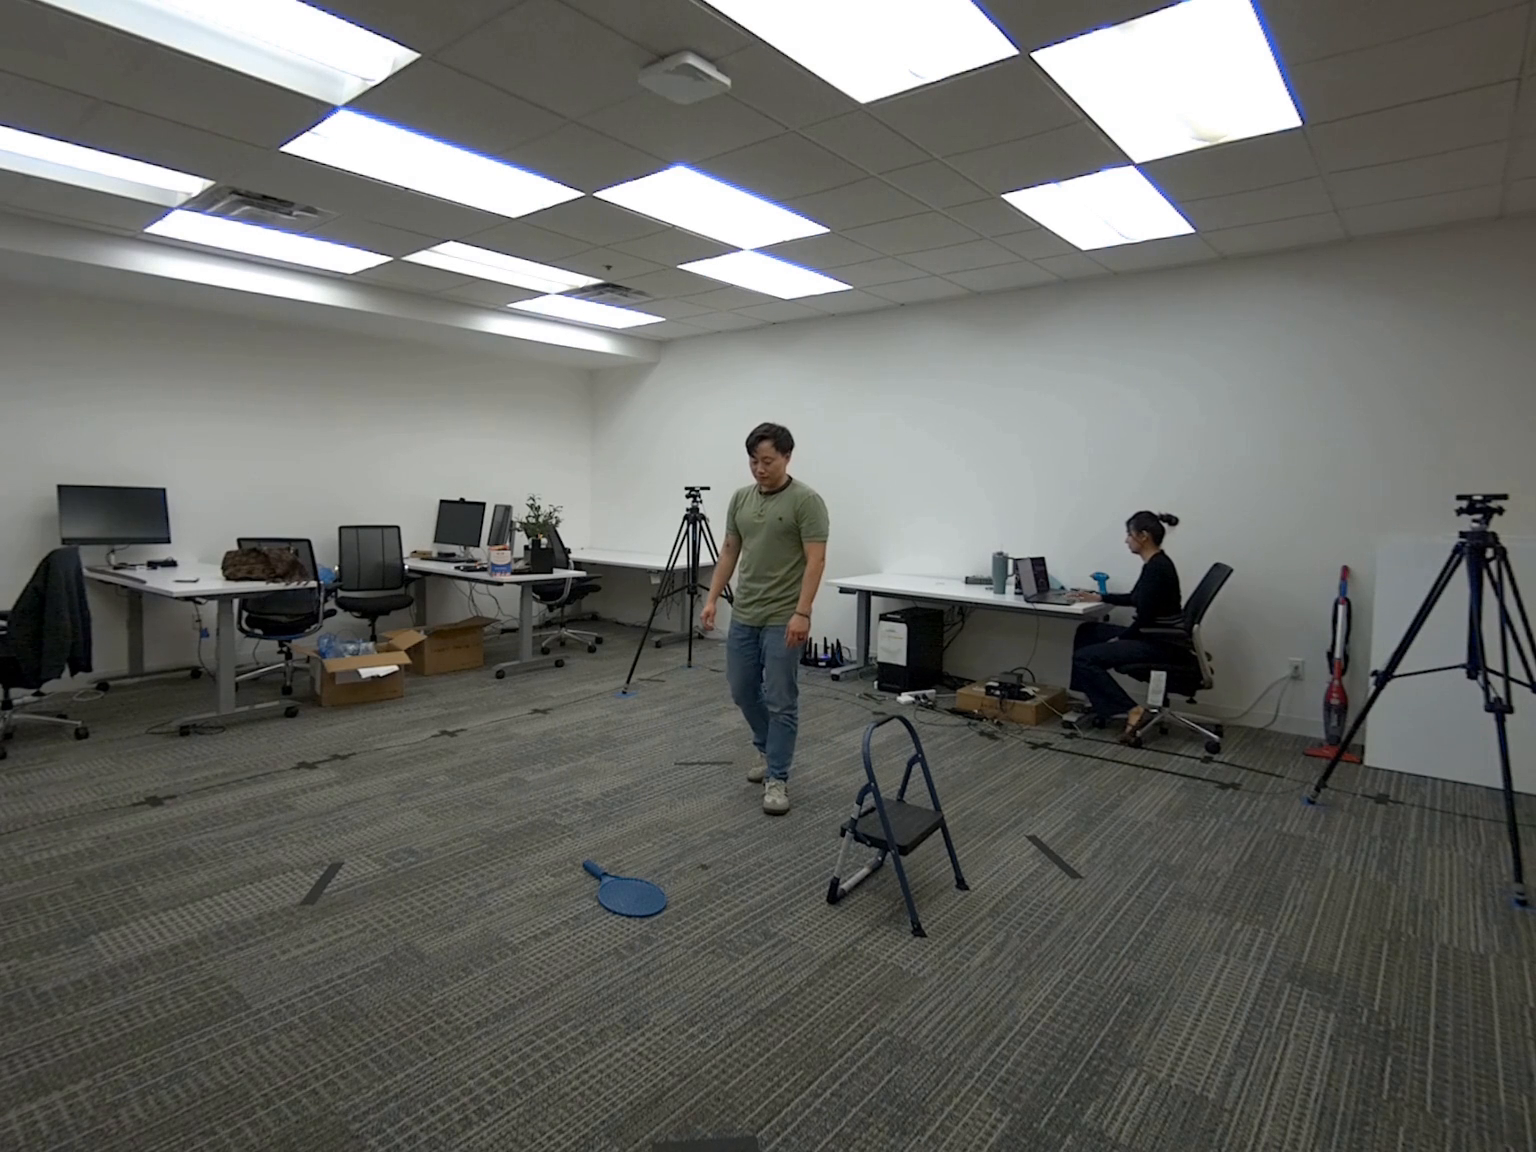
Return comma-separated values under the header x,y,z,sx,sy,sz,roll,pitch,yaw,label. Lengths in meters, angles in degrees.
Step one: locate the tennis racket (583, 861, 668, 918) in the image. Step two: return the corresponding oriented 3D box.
x,y,z,sx,sy,sz,roll,pitch,yaw,label
-0.524,1.068,2.920,0.207,0.031,0.448,-5,9,-42,tennis racket
